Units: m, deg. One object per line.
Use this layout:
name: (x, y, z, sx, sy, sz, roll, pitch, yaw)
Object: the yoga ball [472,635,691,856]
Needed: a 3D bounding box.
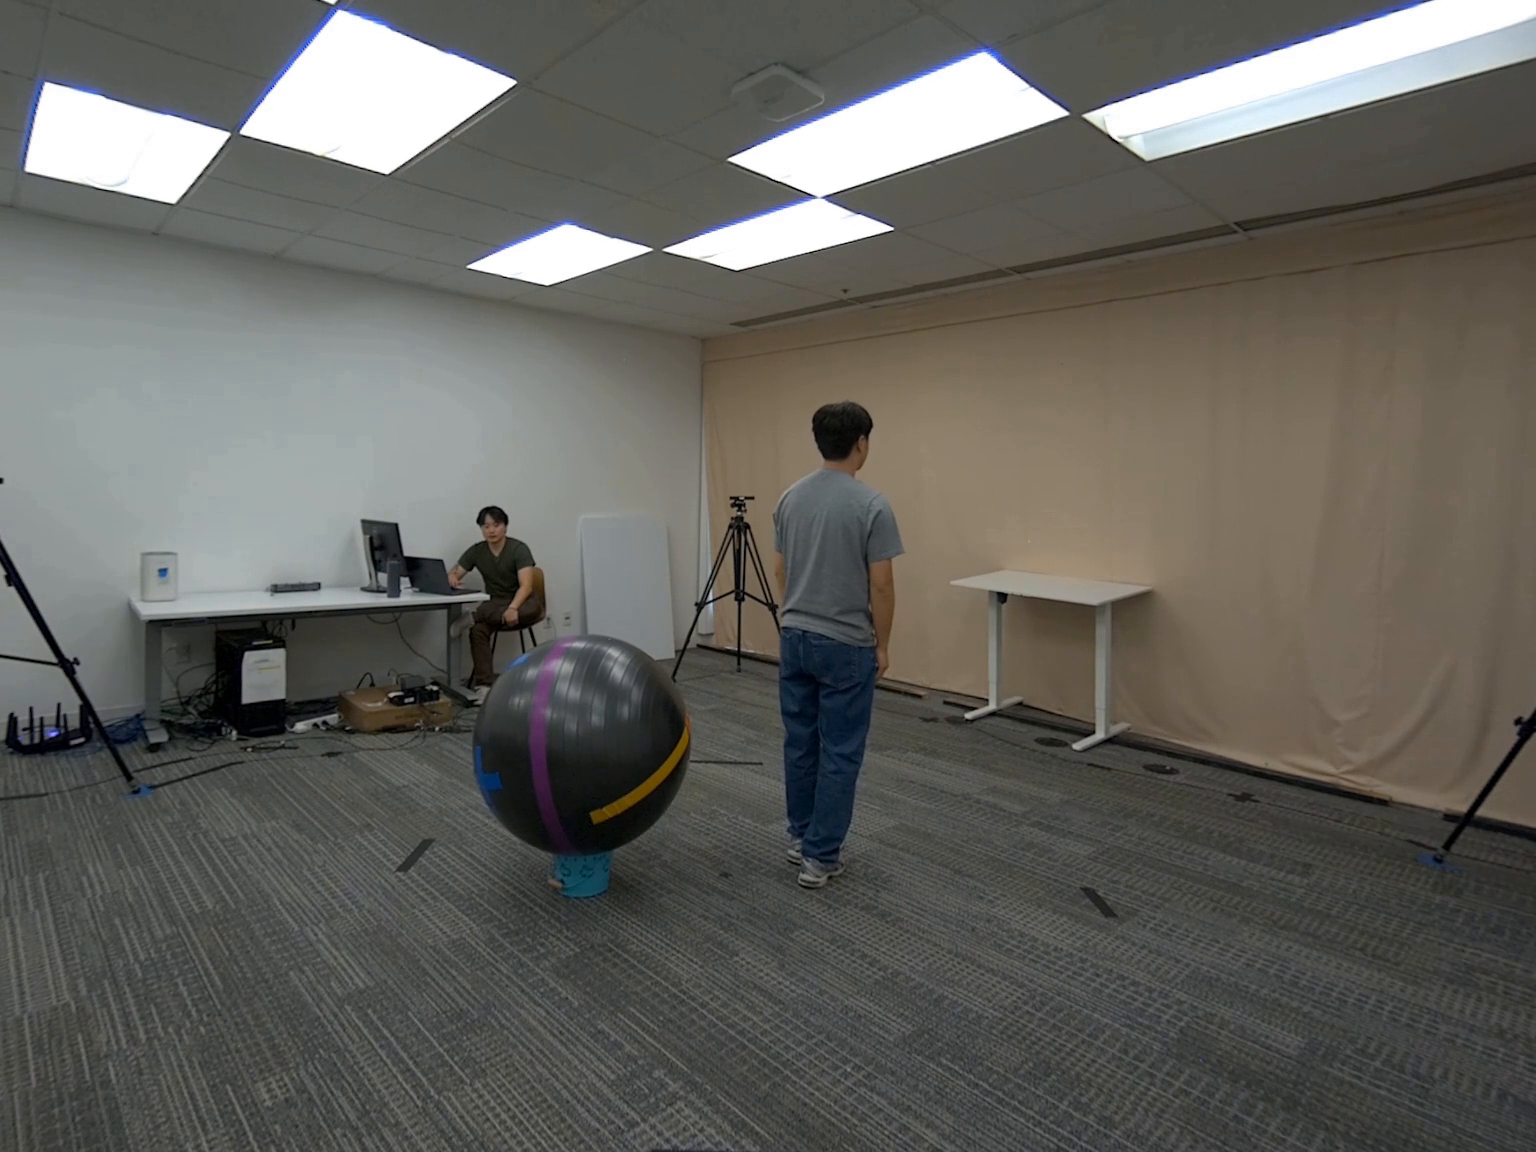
yoga ball: (-0.671, 0.598, 2.977, 0.757, 0.756, 0.761, 1, 4, -1)
